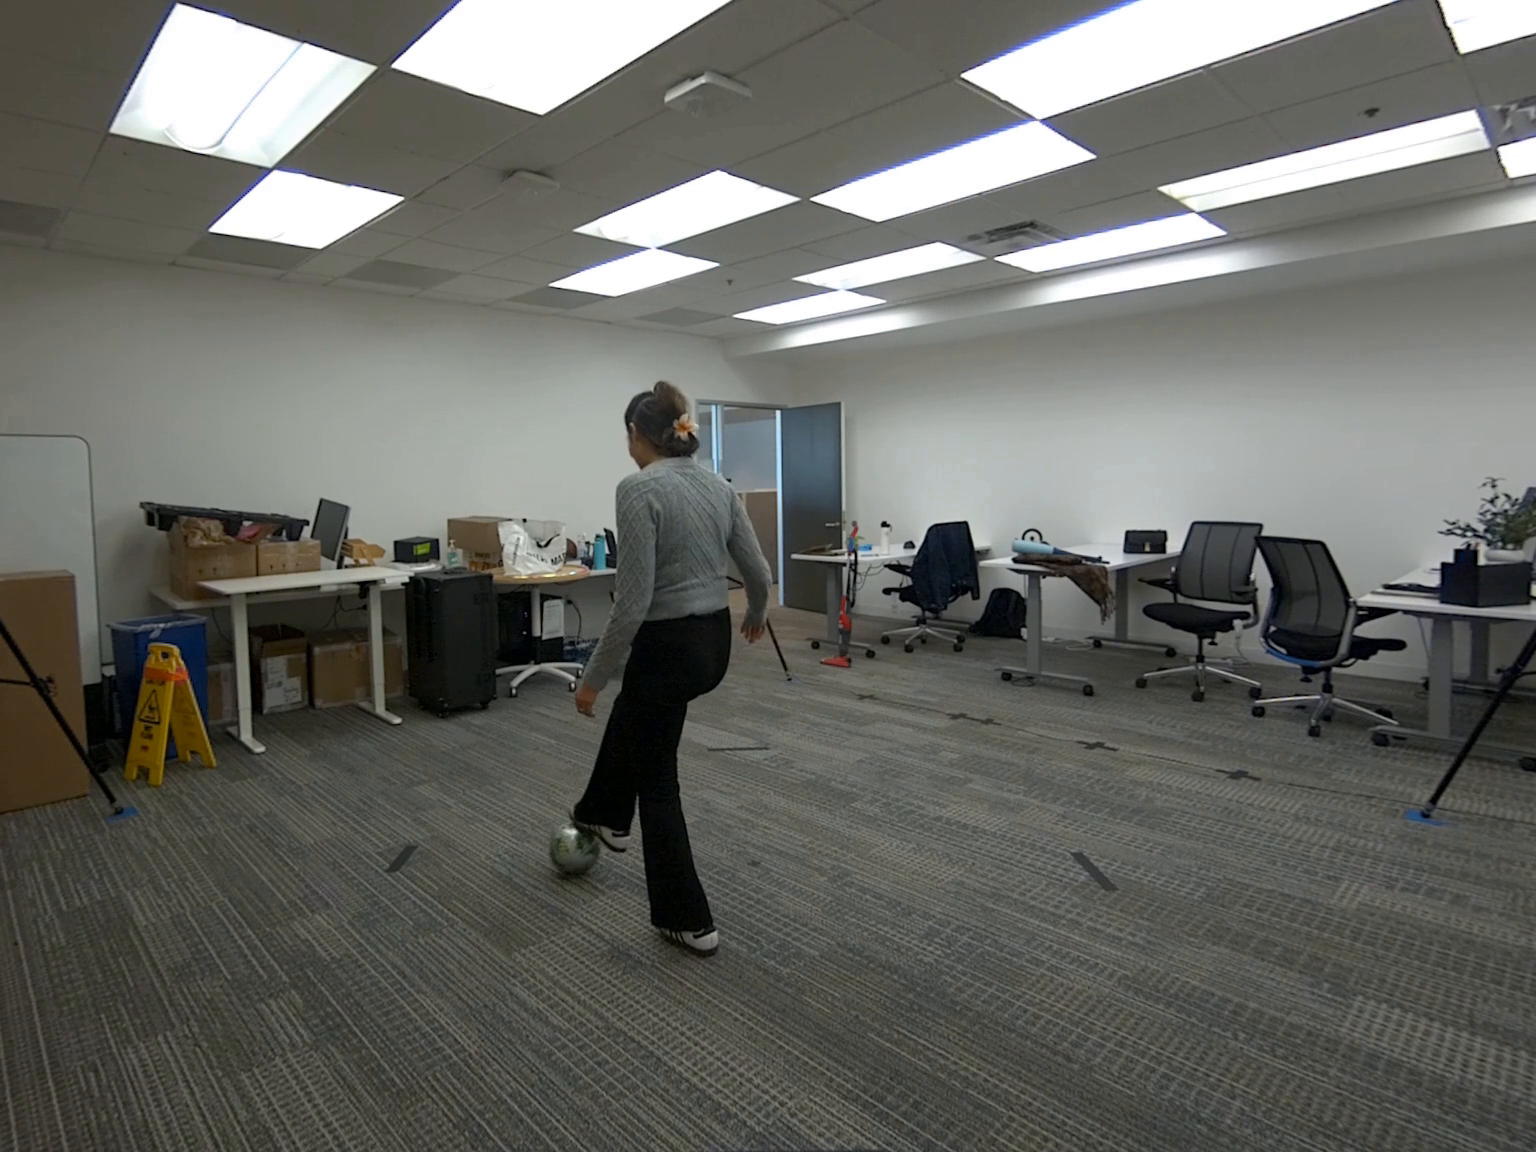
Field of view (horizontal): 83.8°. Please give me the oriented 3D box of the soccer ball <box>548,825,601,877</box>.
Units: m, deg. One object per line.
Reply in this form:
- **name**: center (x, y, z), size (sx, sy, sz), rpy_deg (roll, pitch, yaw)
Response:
- **soccer ball**: center (-0.673, 0.969, 3.063), size (0.187, 0.187, 0.188), rpy_deg (-1, 5, -2)
